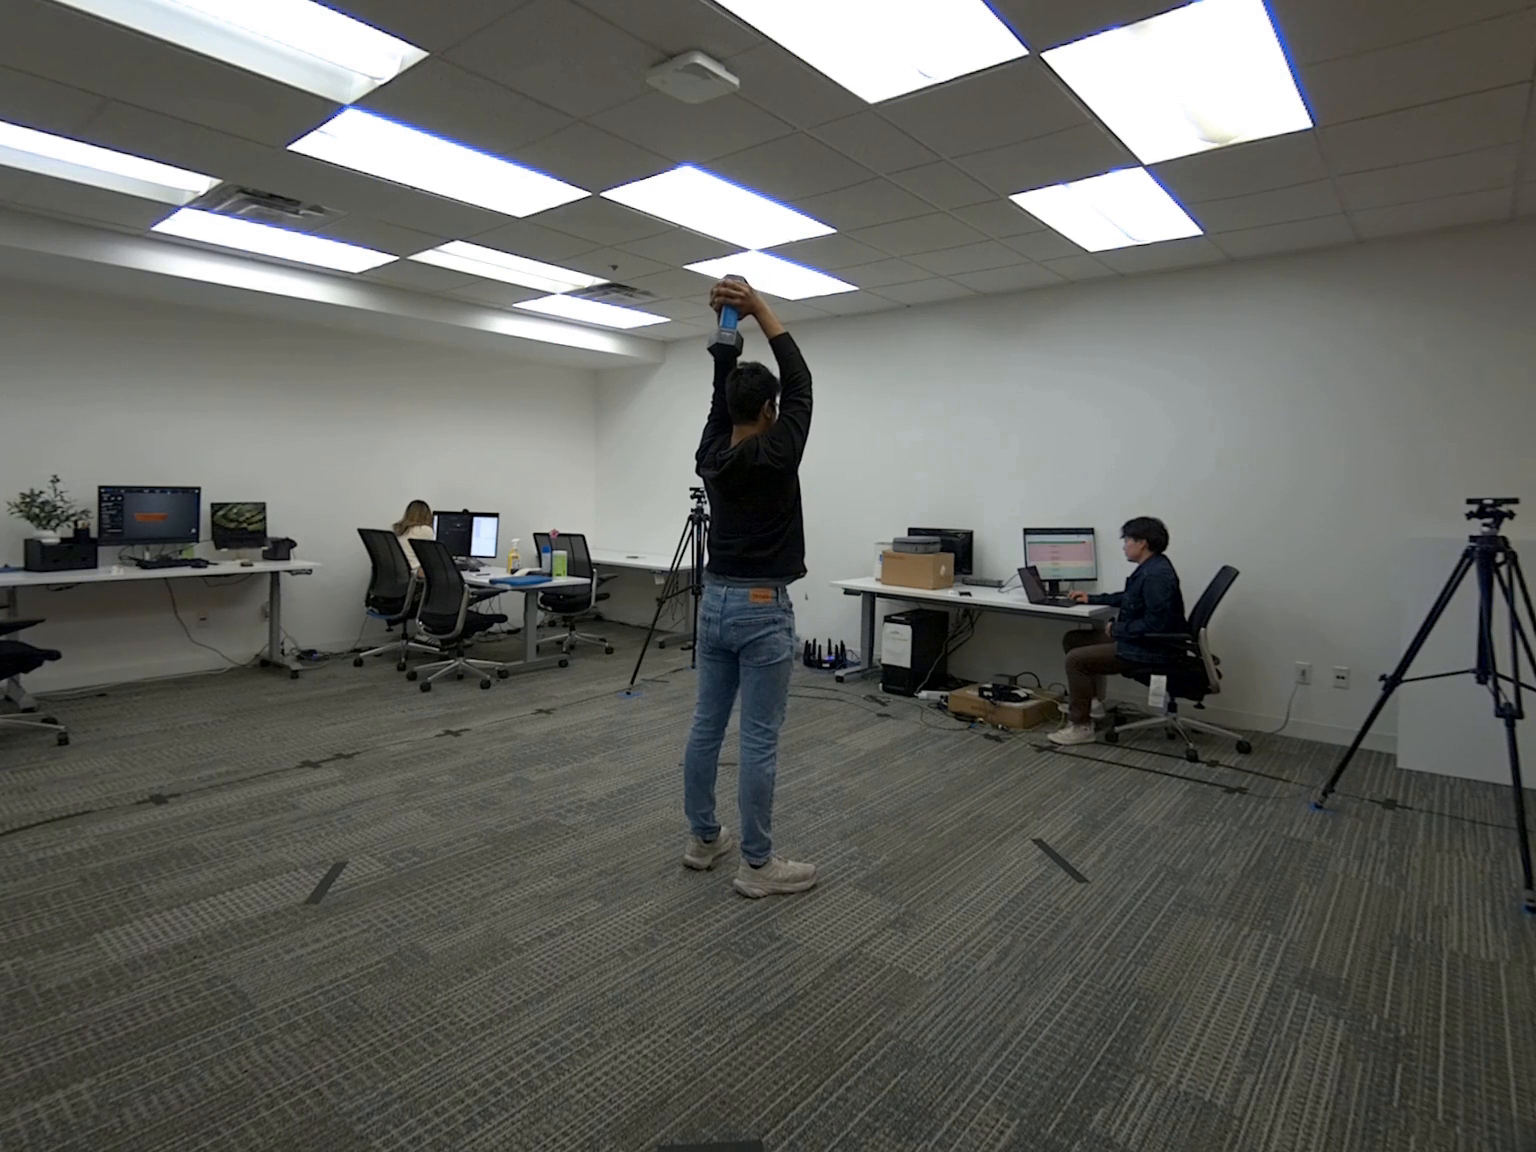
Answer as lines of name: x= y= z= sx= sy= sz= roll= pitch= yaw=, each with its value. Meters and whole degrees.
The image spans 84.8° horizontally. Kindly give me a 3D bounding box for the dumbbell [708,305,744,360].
dumbbell: x=-0.144 y=-0.885 z=2.916 sx=0.105 sy=0.298 sz=0.125 roll=19 pitch=-22 yaw=-33
